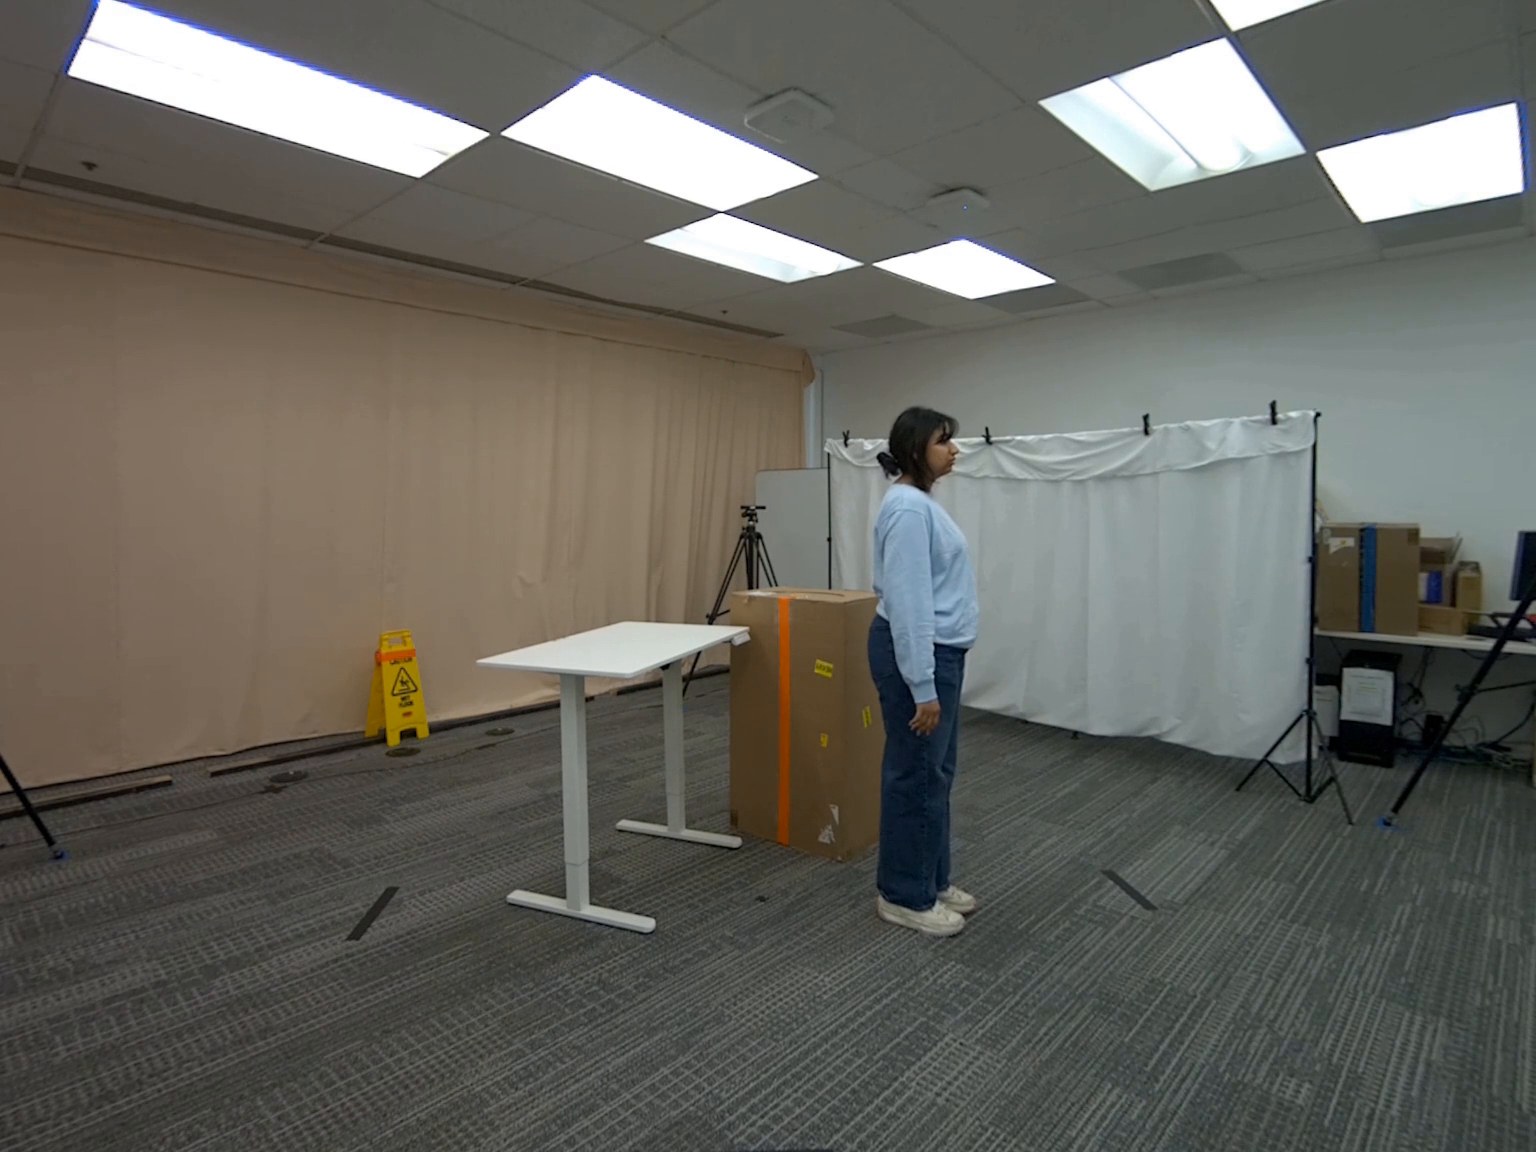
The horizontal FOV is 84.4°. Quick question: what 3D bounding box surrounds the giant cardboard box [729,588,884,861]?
[{"bbox_3d":[0.188,0.584,3.592,0.596,1.024,0.413,3,4,38],"label":"giant cardboard box"}]
